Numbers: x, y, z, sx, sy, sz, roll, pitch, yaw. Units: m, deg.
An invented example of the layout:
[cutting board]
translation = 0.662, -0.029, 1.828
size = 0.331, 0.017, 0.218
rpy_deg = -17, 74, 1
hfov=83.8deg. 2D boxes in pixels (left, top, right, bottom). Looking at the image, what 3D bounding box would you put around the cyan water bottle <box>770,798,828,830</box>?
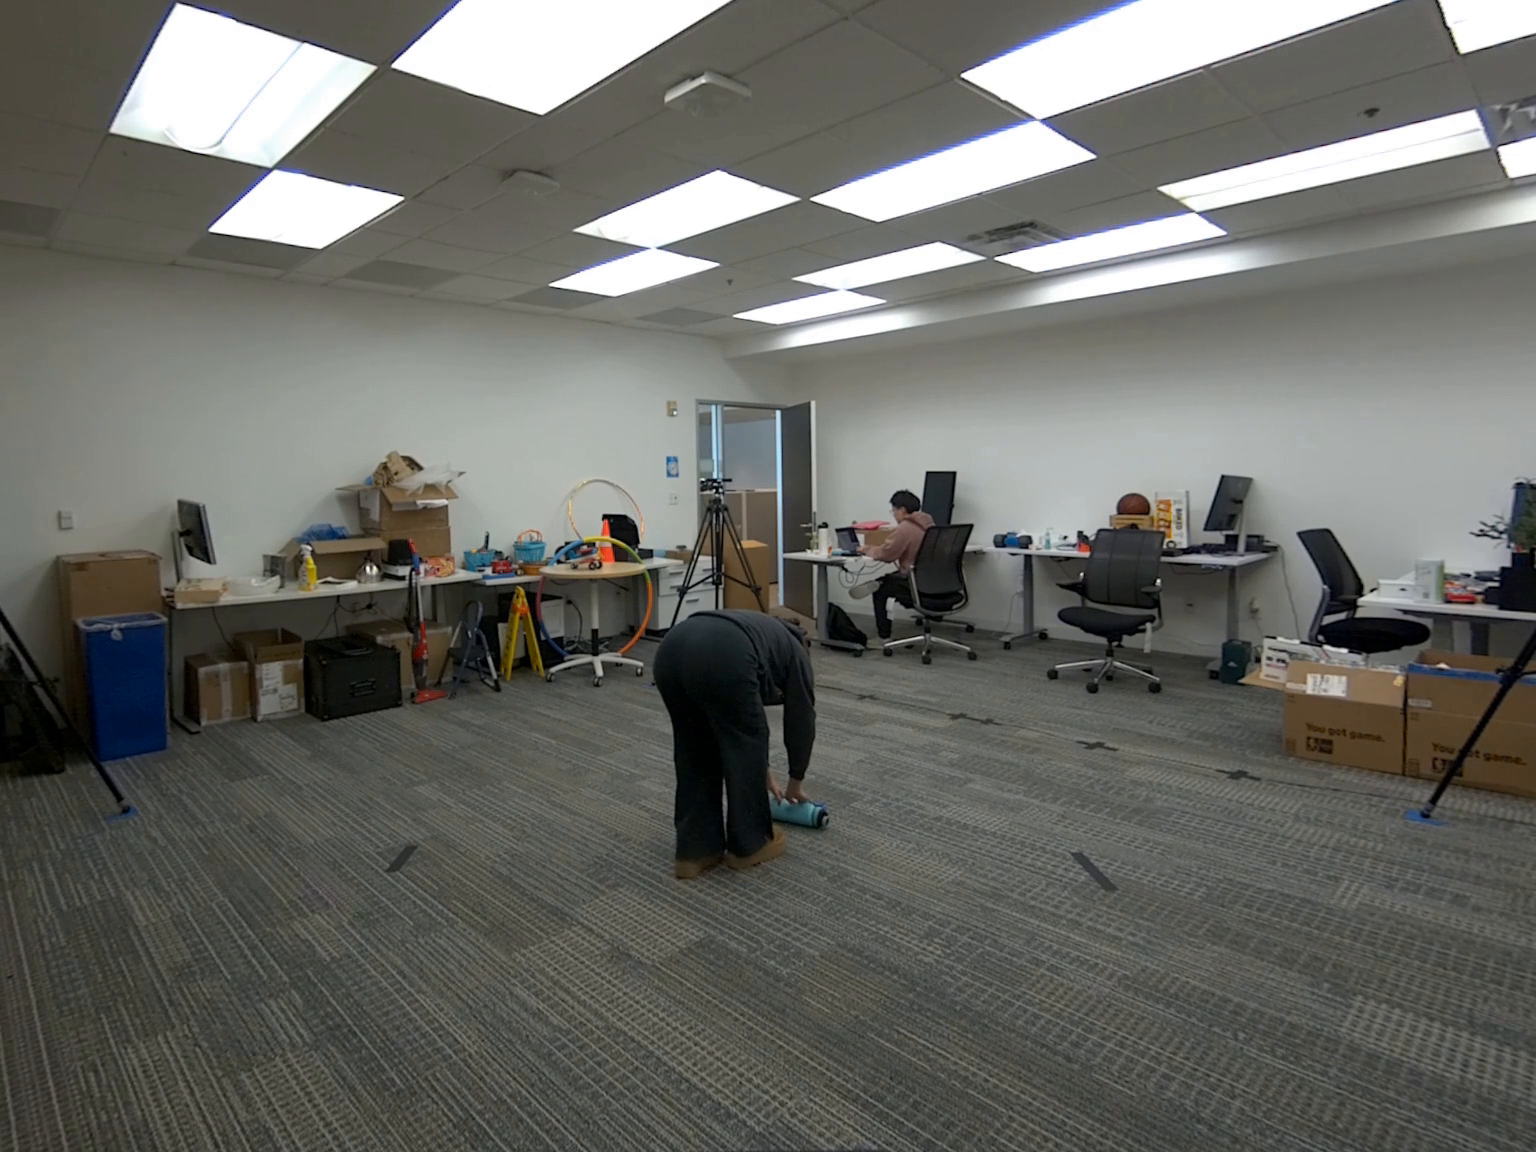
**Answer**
[cyan water bottle]
translation = 0.113, 0.957, 3.449
size = 0.290, 0.092, 0.090
rpy_deg = 1, 5, 28
